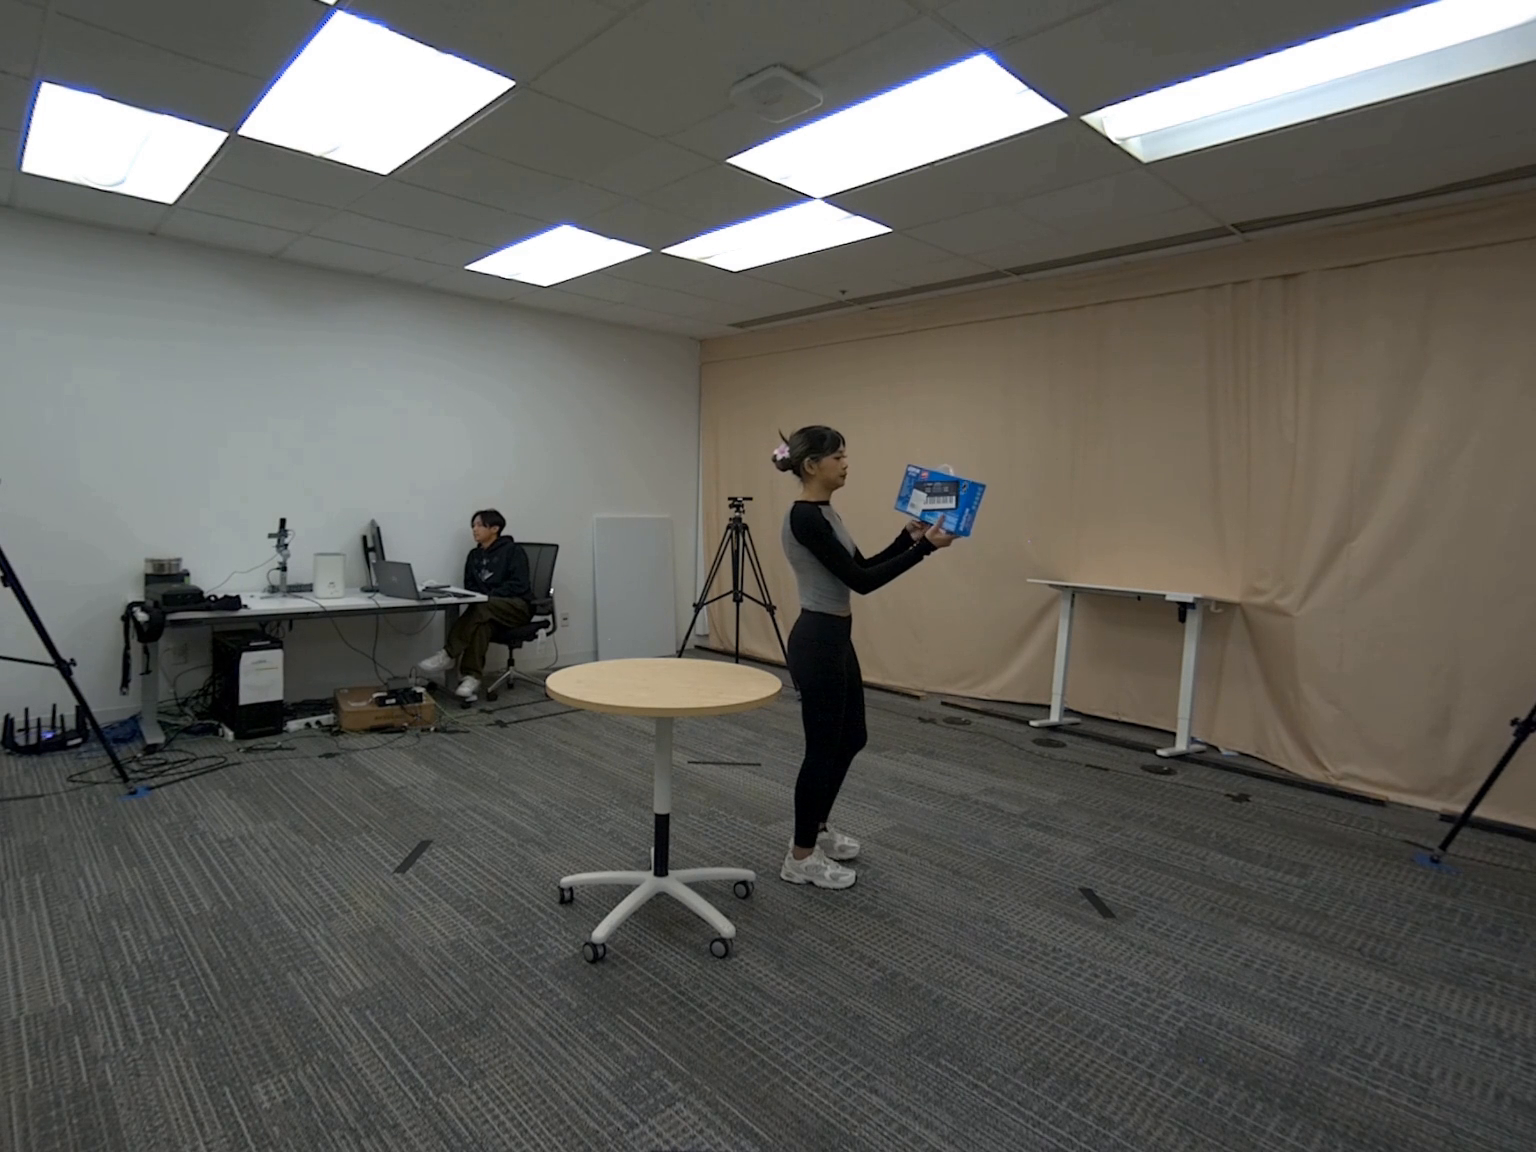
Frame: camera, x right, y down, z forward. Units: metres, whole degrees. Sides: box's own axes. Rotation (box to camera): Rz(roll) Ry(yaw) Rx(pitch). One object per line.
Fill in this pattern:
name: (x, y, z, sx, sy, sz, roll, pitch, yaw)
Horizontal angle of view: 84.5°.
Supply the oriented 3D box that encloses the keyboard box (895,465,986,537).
keyboard box: (0.562, -0.262, 2.841, 0.058, 0.175, 0.446, 13, 10, -20)
